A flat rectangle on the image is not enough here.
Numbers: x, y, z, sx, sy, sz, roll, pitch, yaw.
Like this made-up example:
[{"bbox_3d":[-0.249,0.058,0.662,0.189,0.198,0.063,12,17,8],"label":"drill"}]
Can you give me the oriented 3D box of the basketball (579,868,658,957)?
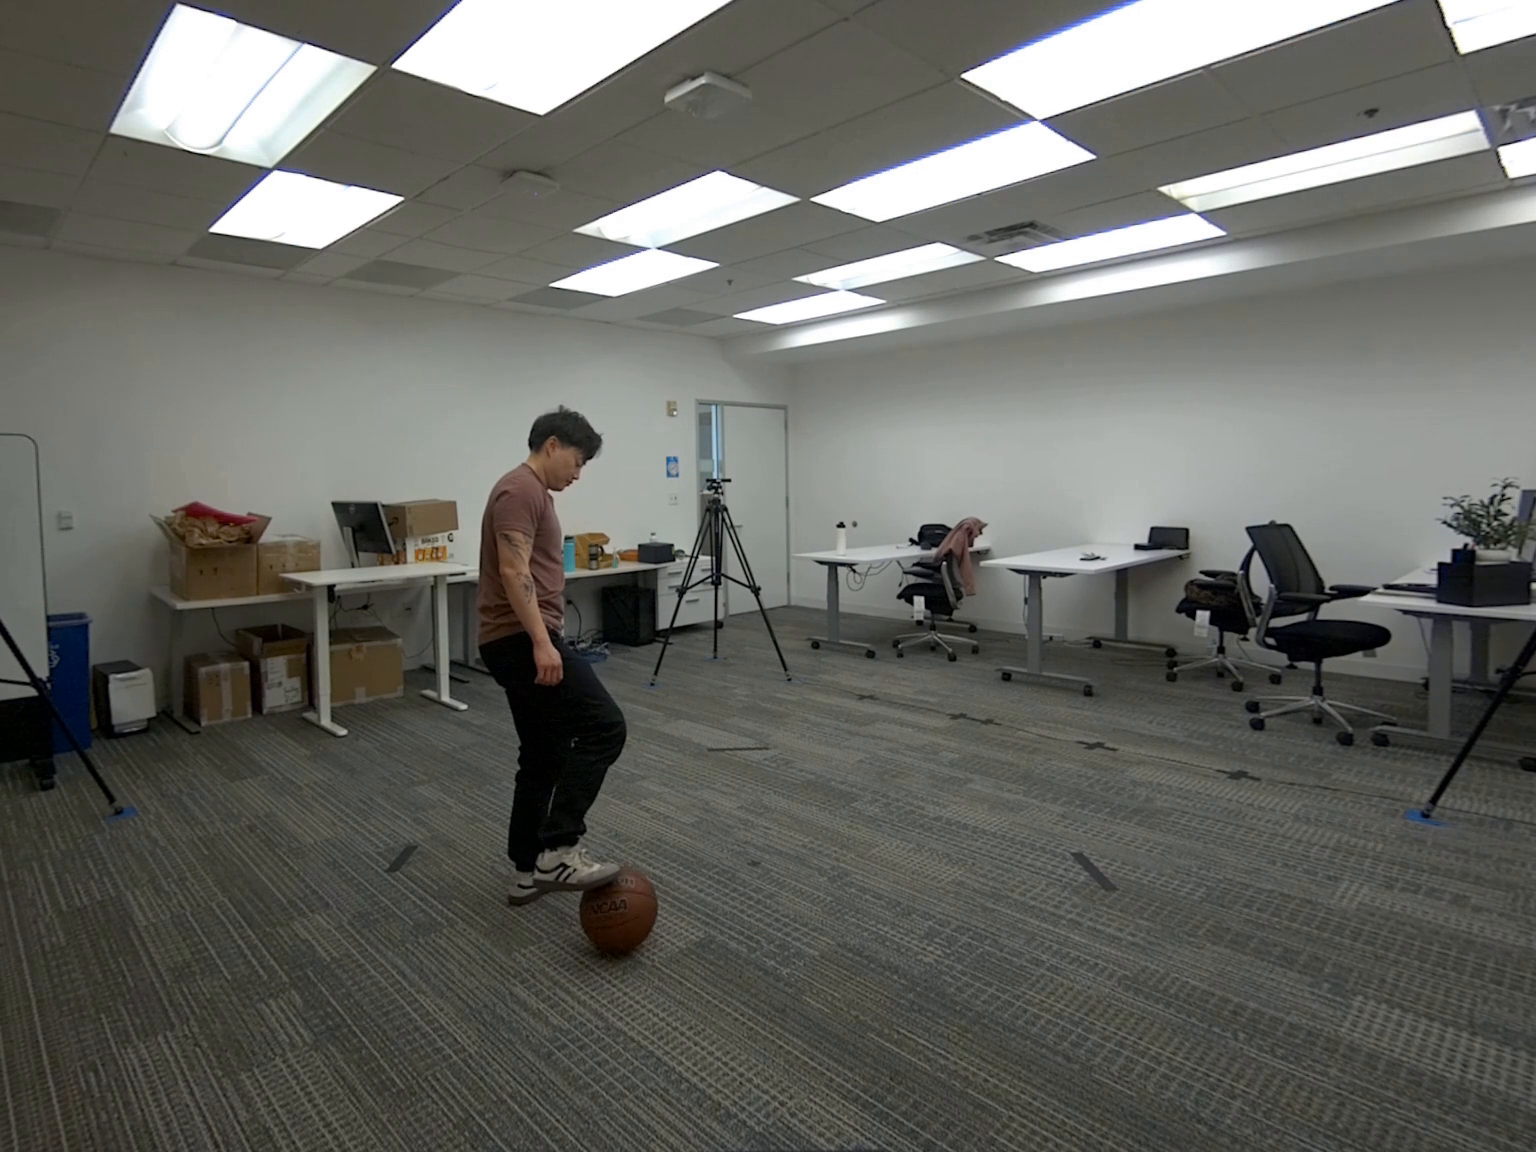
[{"bbox_3d":[-0.441,0.999,2.574,0.236,0.235,0.237,-1,5,-2],"label":"basketball"}]
